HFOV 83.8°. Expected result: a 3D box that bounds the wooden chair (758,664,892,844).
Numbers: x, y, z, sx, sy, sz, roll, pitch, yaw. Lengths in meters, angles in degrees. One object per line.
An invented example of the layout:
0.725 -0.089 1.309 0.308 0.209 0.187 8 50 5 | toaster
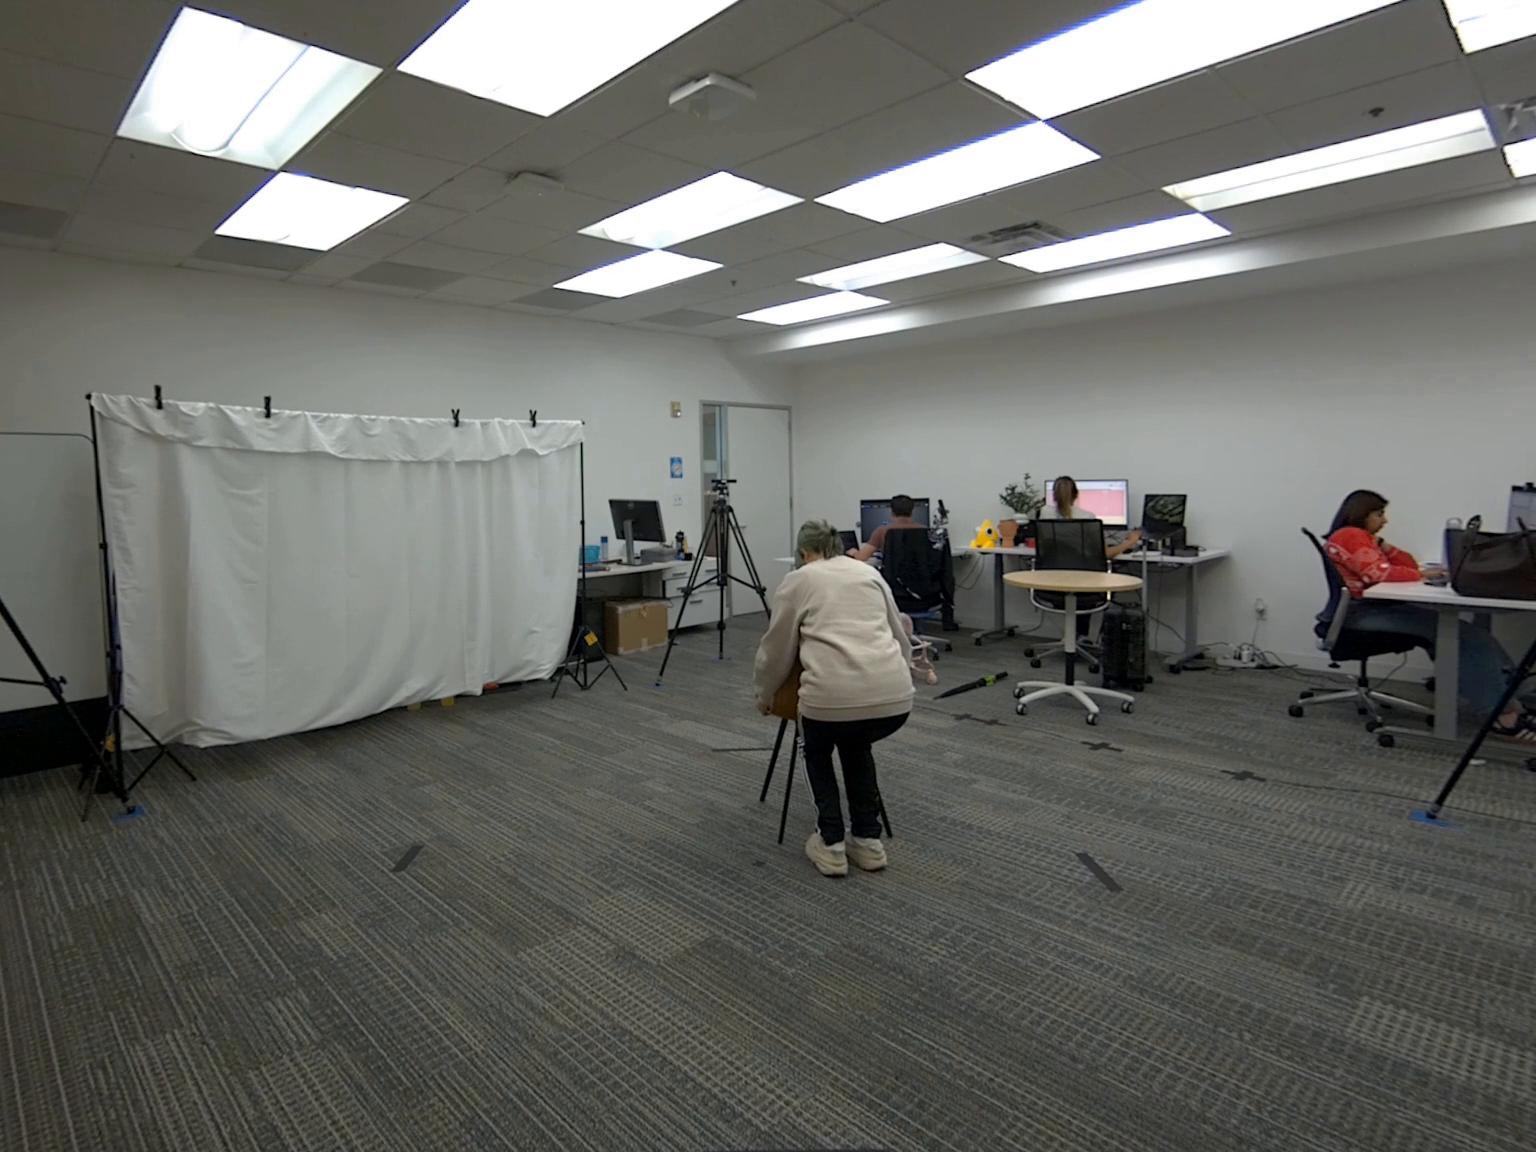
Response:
0.211 0.571 3.505 0.474 0.871 0.531 -1 8 -9 | wooden chair
